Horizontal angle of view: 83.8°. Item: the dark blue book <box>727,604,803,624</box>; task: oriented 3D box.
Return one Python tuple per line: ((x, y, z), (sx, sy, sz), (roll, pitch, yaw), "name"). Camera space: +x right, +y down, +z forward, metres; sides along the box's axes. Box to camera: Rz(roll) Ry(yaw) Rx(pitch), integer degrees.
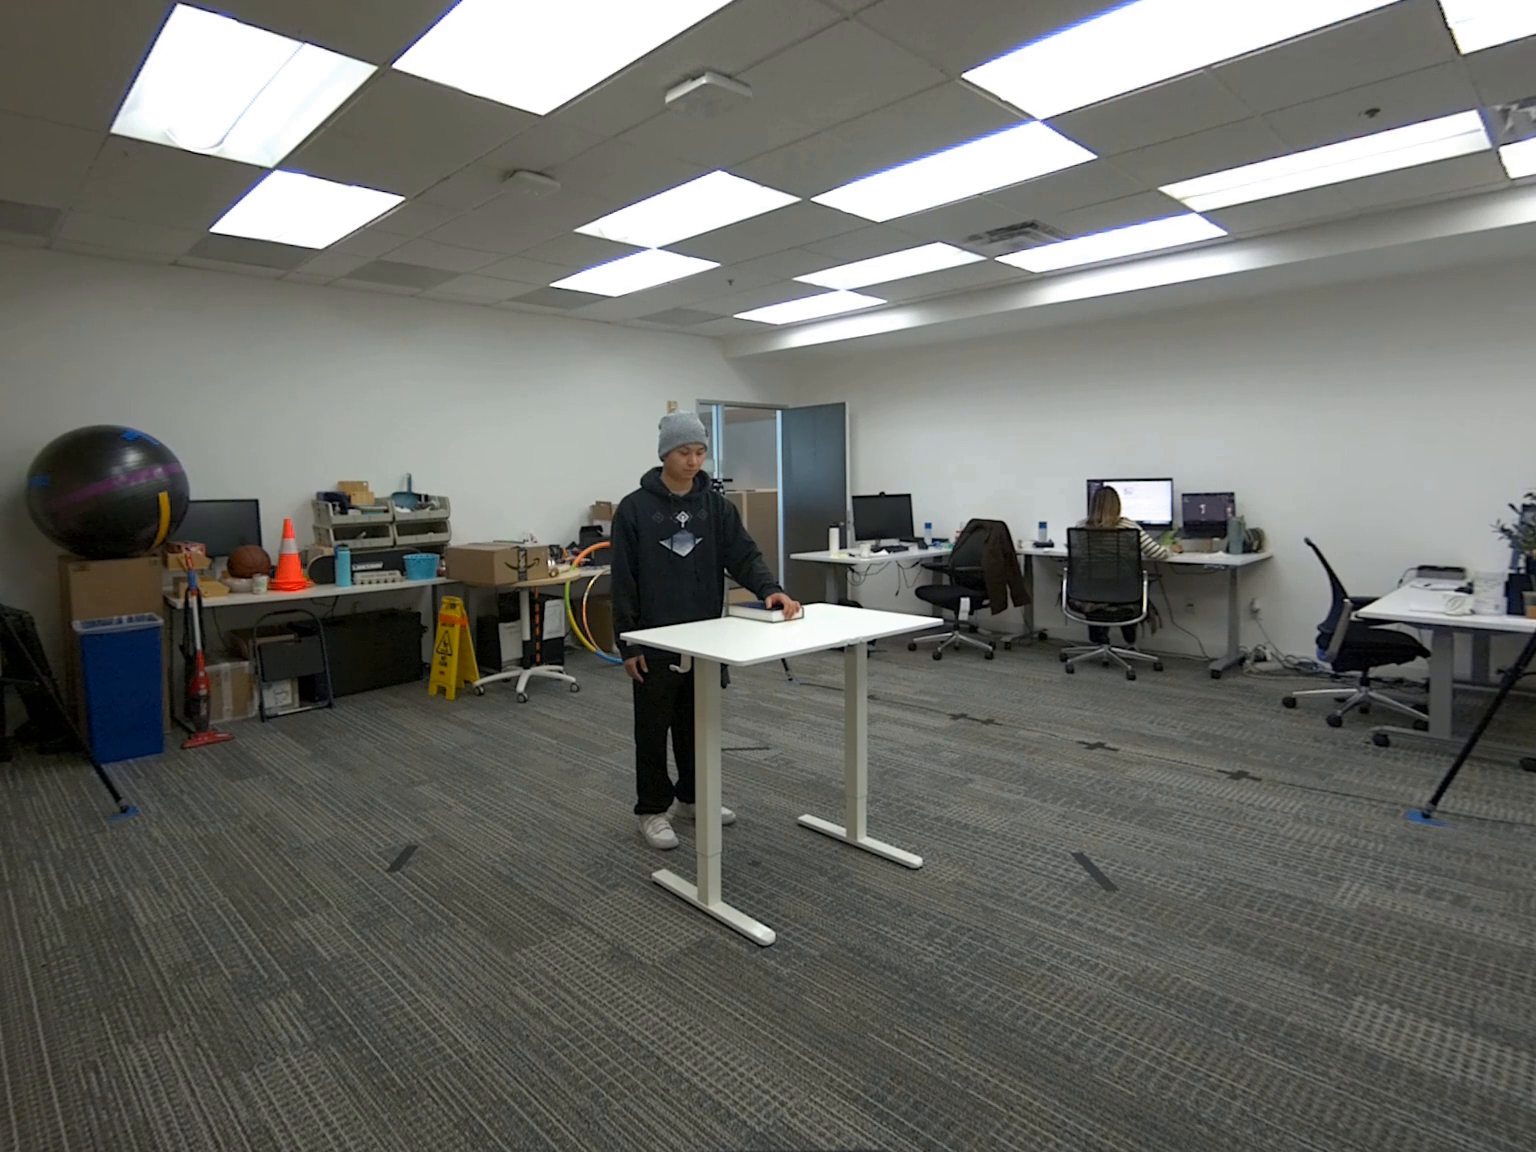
((-0.017, 0.133, 3.191), (0.159, 0.045, 0.253), (-5, 8, -41), "dark blue book")
